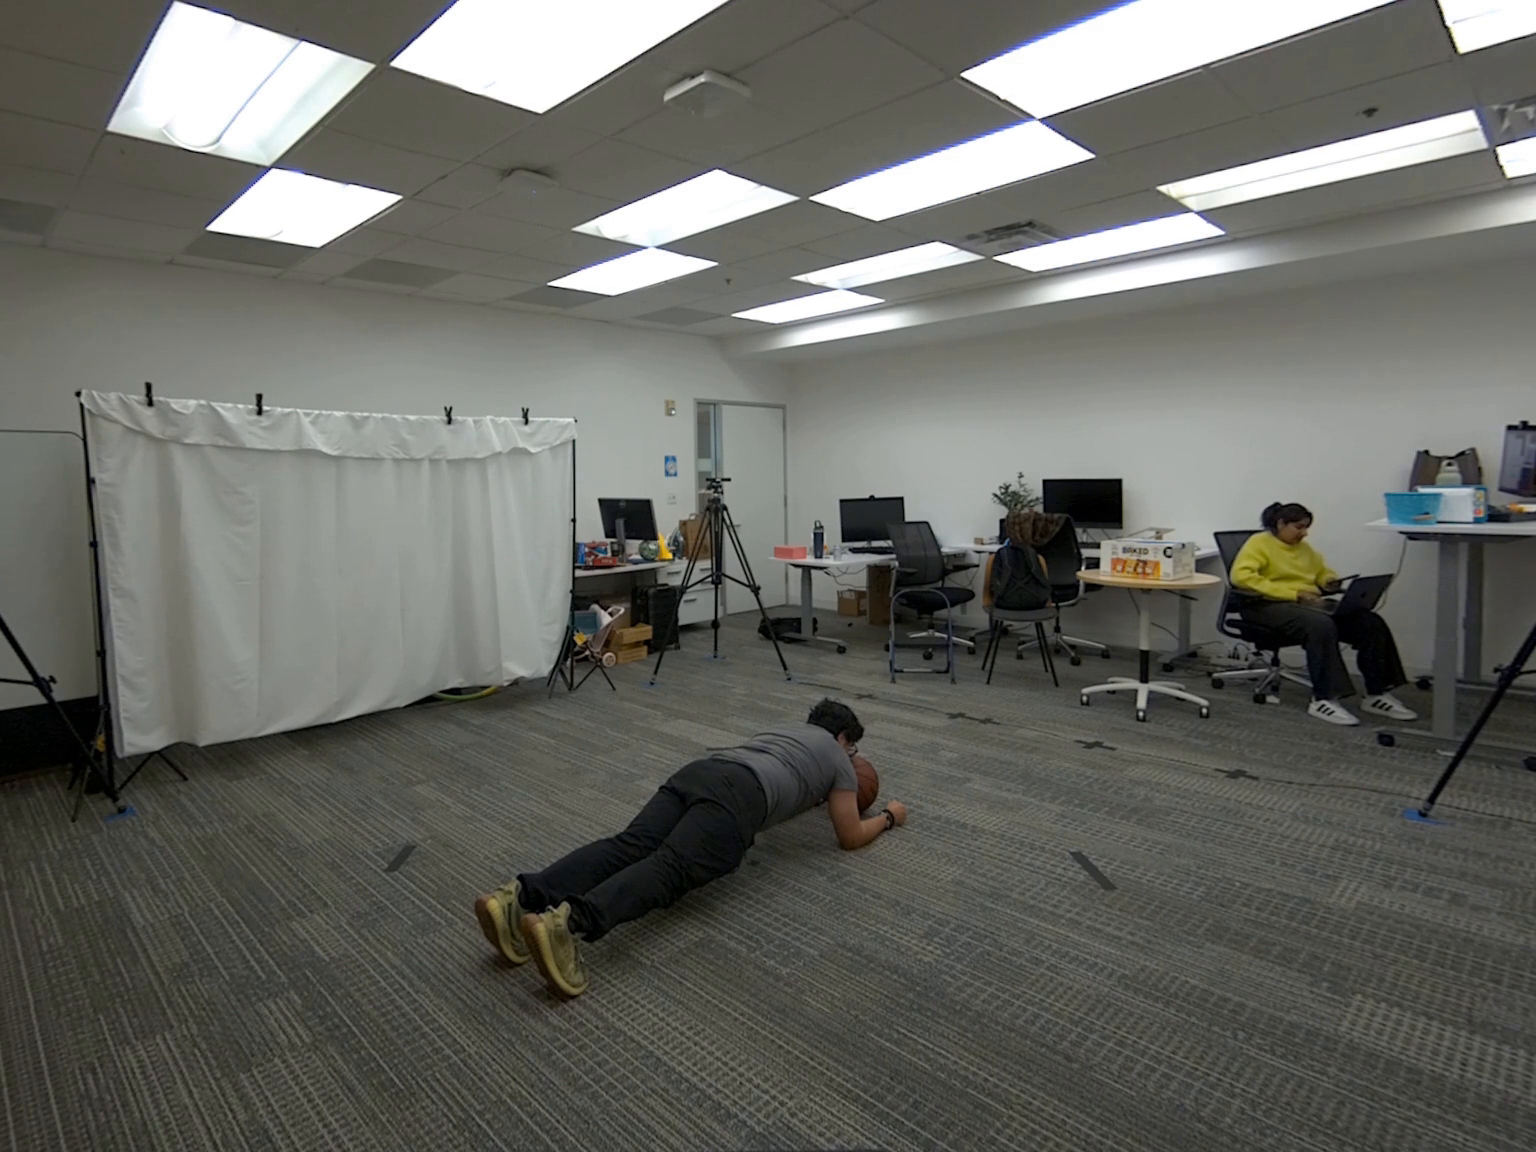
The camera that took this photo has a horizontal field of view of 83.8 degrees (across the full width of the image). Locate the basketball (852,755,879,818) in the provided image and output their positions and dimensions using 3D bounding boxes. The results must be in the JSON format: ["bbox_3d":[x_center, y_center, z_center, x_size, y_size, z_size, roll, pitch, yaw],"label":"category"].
[{"bbox_3d":[0.344,0.865,3.561,0.236,0.235,0.237,-1,5,-2],"label":"basketball"}]
